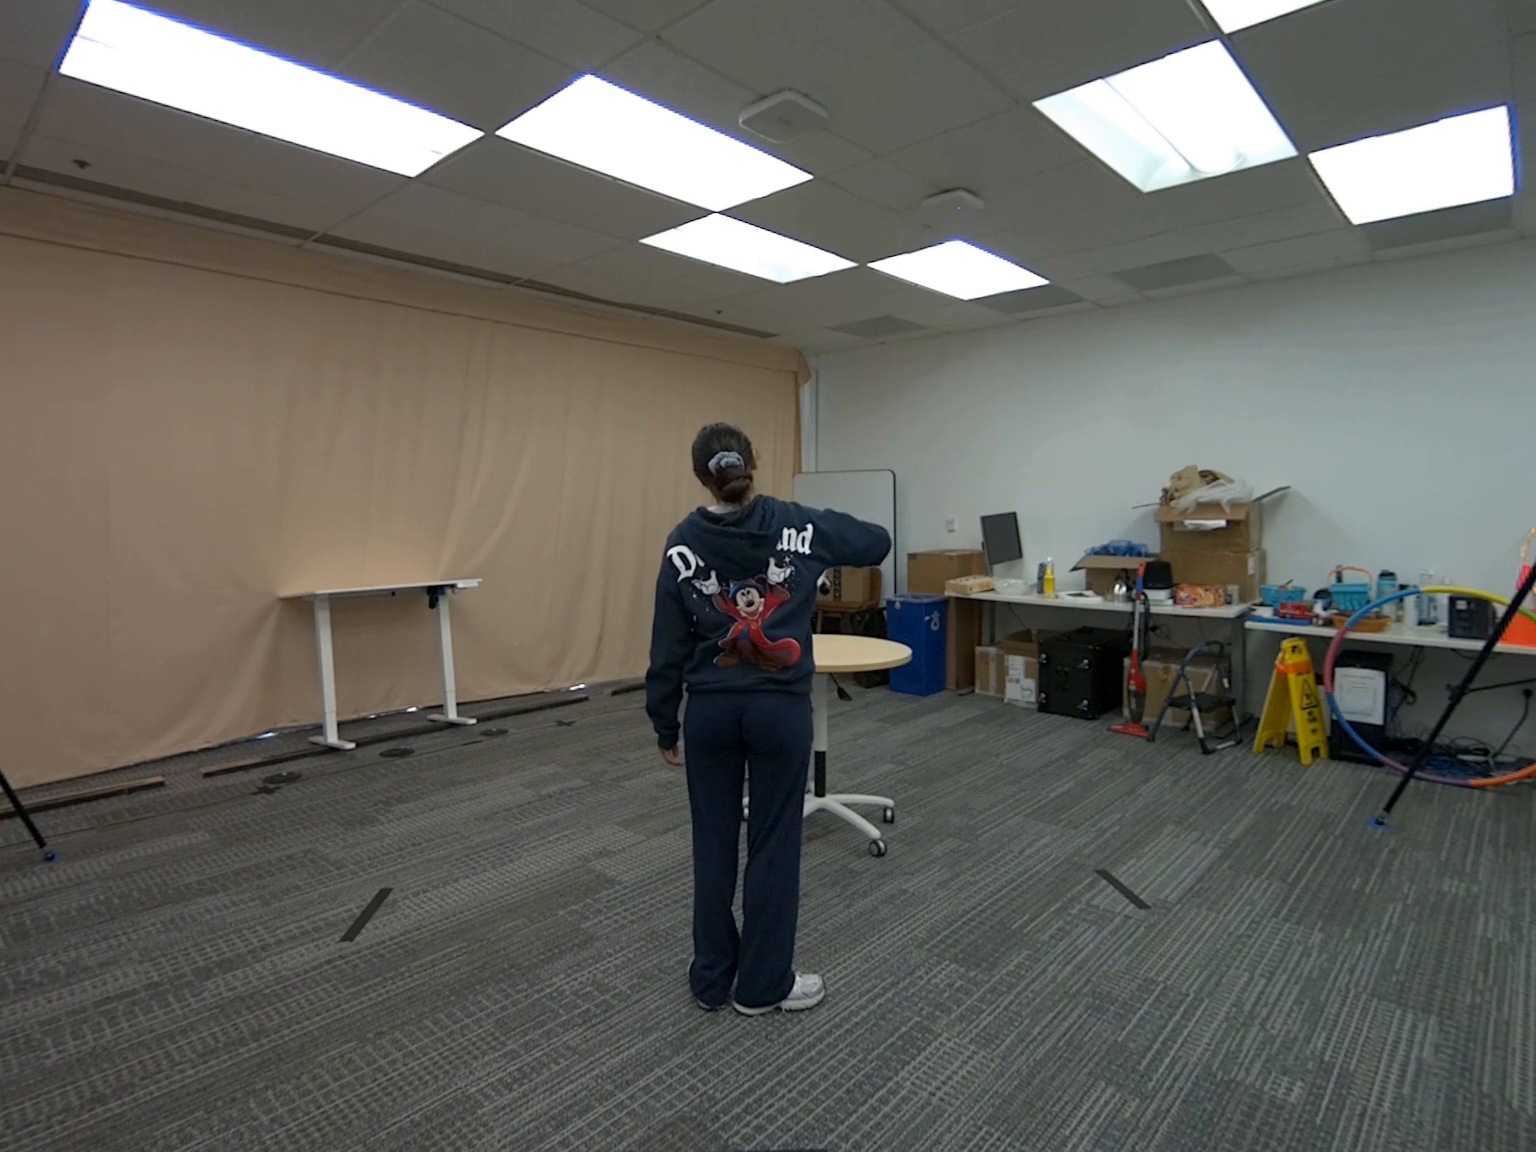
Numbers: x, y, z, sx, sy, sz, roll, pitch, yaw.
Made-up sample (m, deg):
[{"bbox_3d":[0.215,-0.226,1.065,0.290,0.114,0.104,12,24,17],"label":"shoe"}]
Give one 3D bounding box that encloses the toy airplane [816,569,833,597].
[{"bbox_3d":[0.110,0.025,2.676,0.154,0.260,0.254,37,11,-12],"label":"toy airplane"}]
